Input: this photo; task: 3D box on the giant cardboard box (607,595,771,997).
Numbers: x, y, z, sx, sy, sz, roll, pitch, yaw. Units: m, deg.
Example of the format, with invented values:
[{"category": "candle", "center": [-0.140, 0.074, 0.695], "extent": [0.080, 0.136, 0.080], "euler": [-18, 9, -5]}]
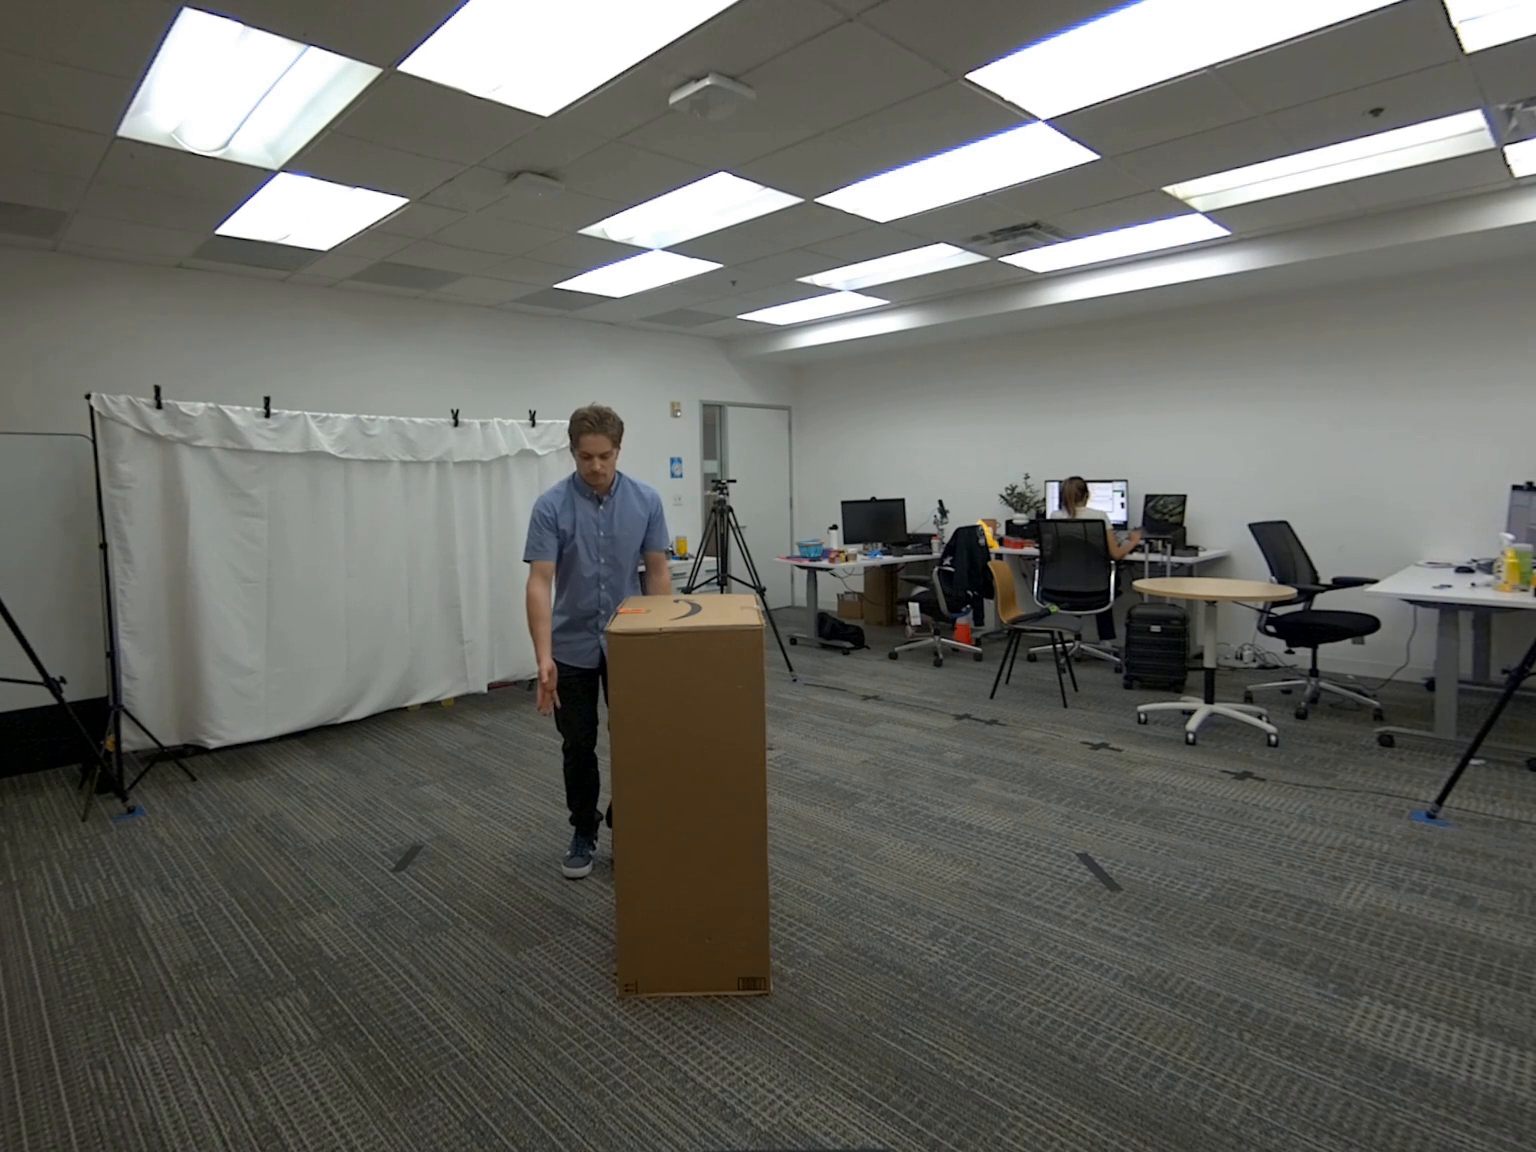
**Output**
[{"category": "giant cardboard box", "center": [-0.225, 0.608, 2.557], "extent": [0.426, 1.021, 0.580], "euler": [-2, 5, -1]}]
